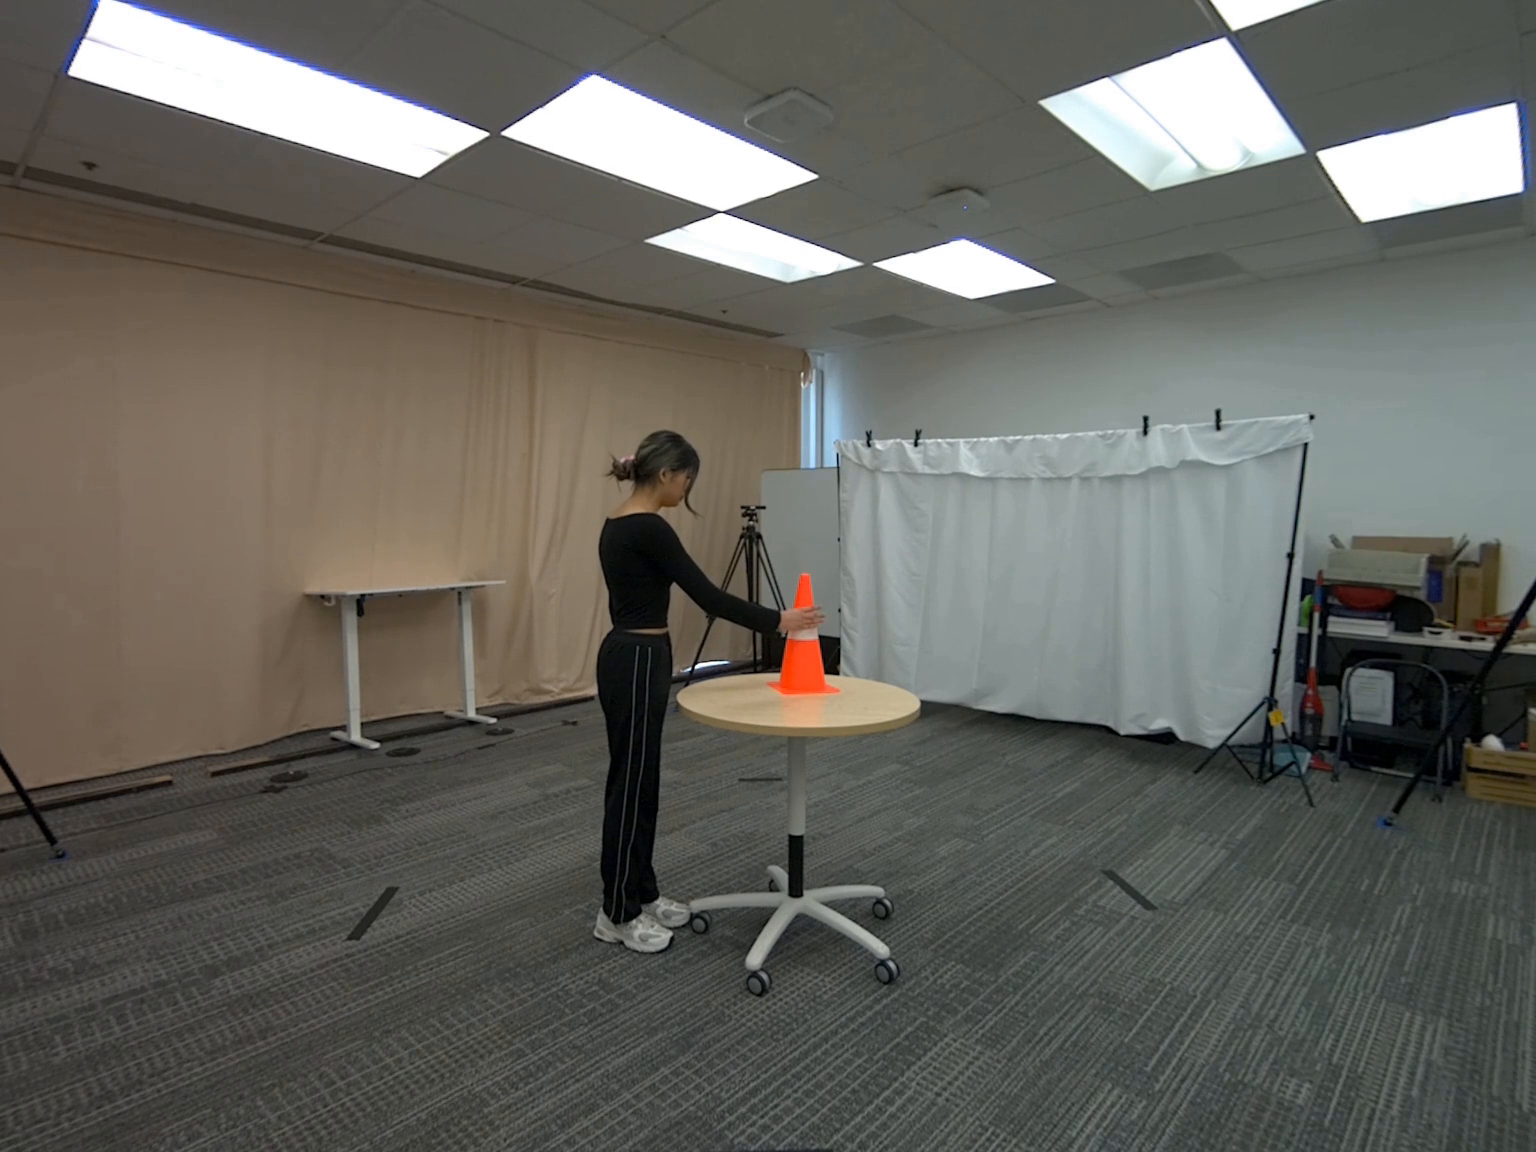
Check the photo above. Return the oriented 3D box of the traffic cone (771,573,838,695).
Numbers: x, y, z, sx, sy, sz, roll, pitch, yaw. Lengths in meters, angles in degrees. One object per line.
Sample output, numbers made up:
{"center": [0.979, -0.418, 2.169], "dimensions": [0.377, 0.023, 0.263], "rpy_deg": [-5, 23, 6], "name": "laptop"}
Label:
{"center": [0.119, 0.189, 2.797], "dimensions": [0.200, 0.383, 0.208], "rpy_deg": [0, 3, -15], "name": "traffic cone"}
